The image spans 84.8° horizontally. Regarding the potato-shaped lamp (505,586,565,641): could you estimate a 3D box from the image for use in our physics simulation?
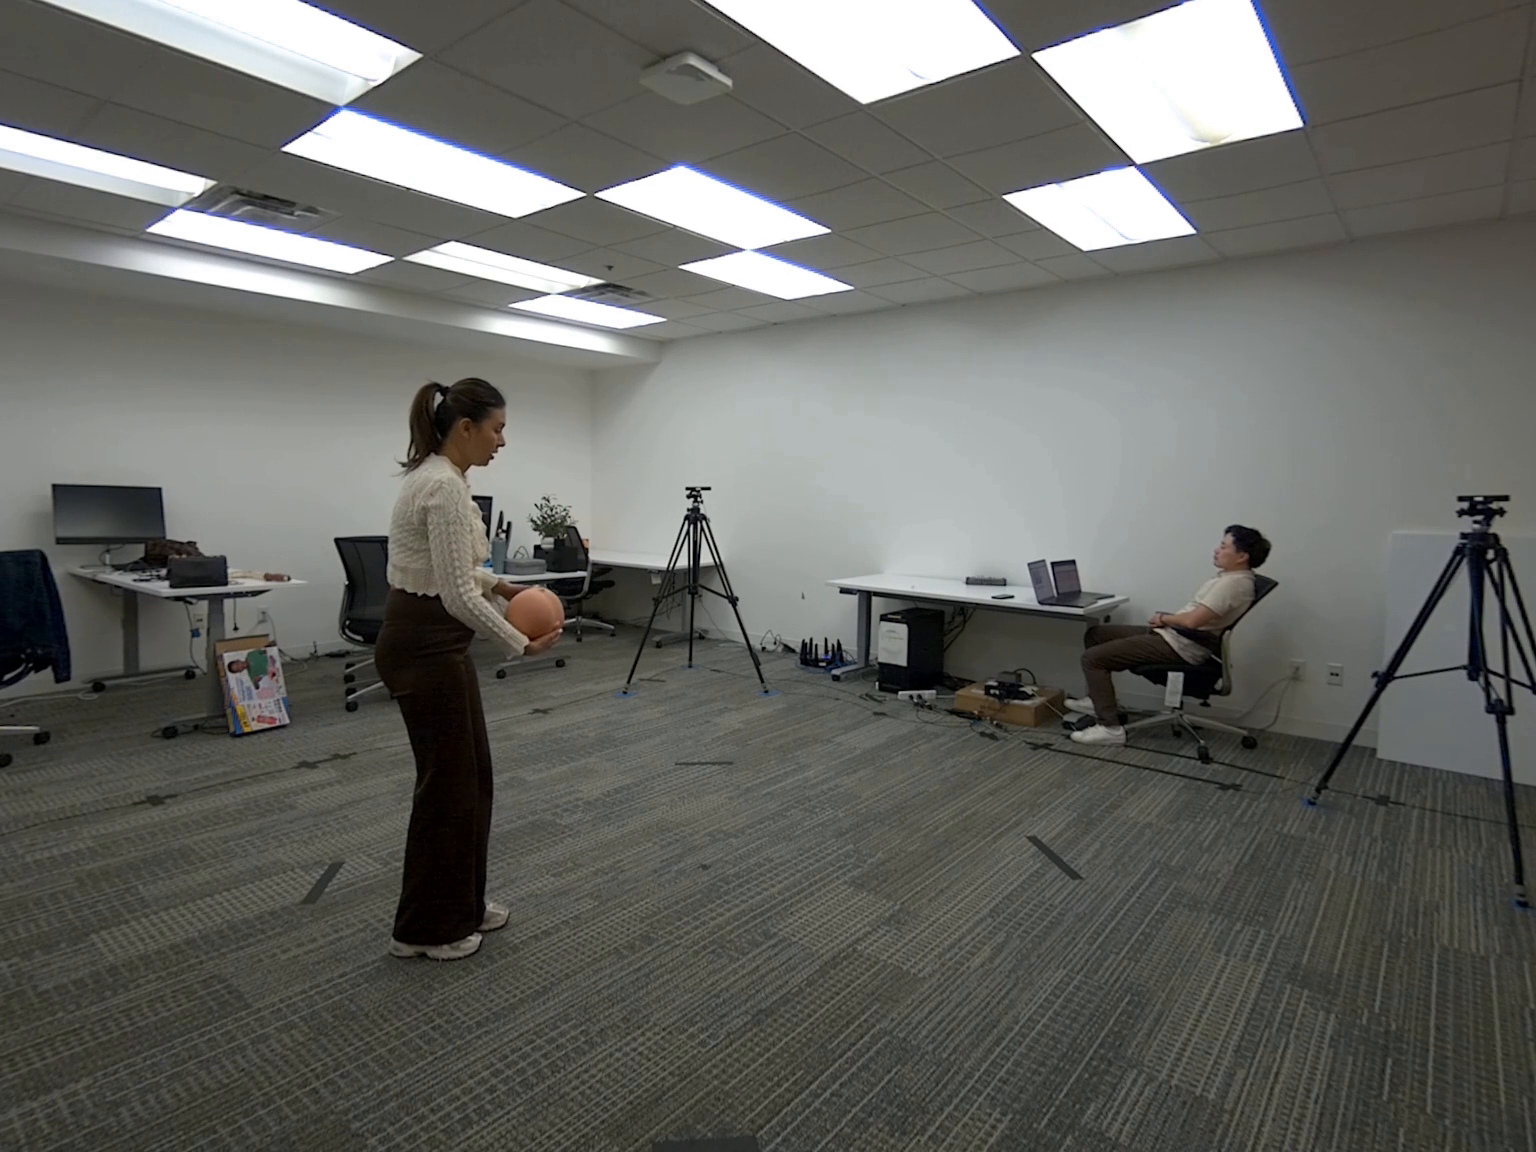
[{"bbox_3d":[-0.709,0.115,2.519,0.170,0.165,0.199,-23,-1,-11],"label":"potato-shaped lamp"}]
